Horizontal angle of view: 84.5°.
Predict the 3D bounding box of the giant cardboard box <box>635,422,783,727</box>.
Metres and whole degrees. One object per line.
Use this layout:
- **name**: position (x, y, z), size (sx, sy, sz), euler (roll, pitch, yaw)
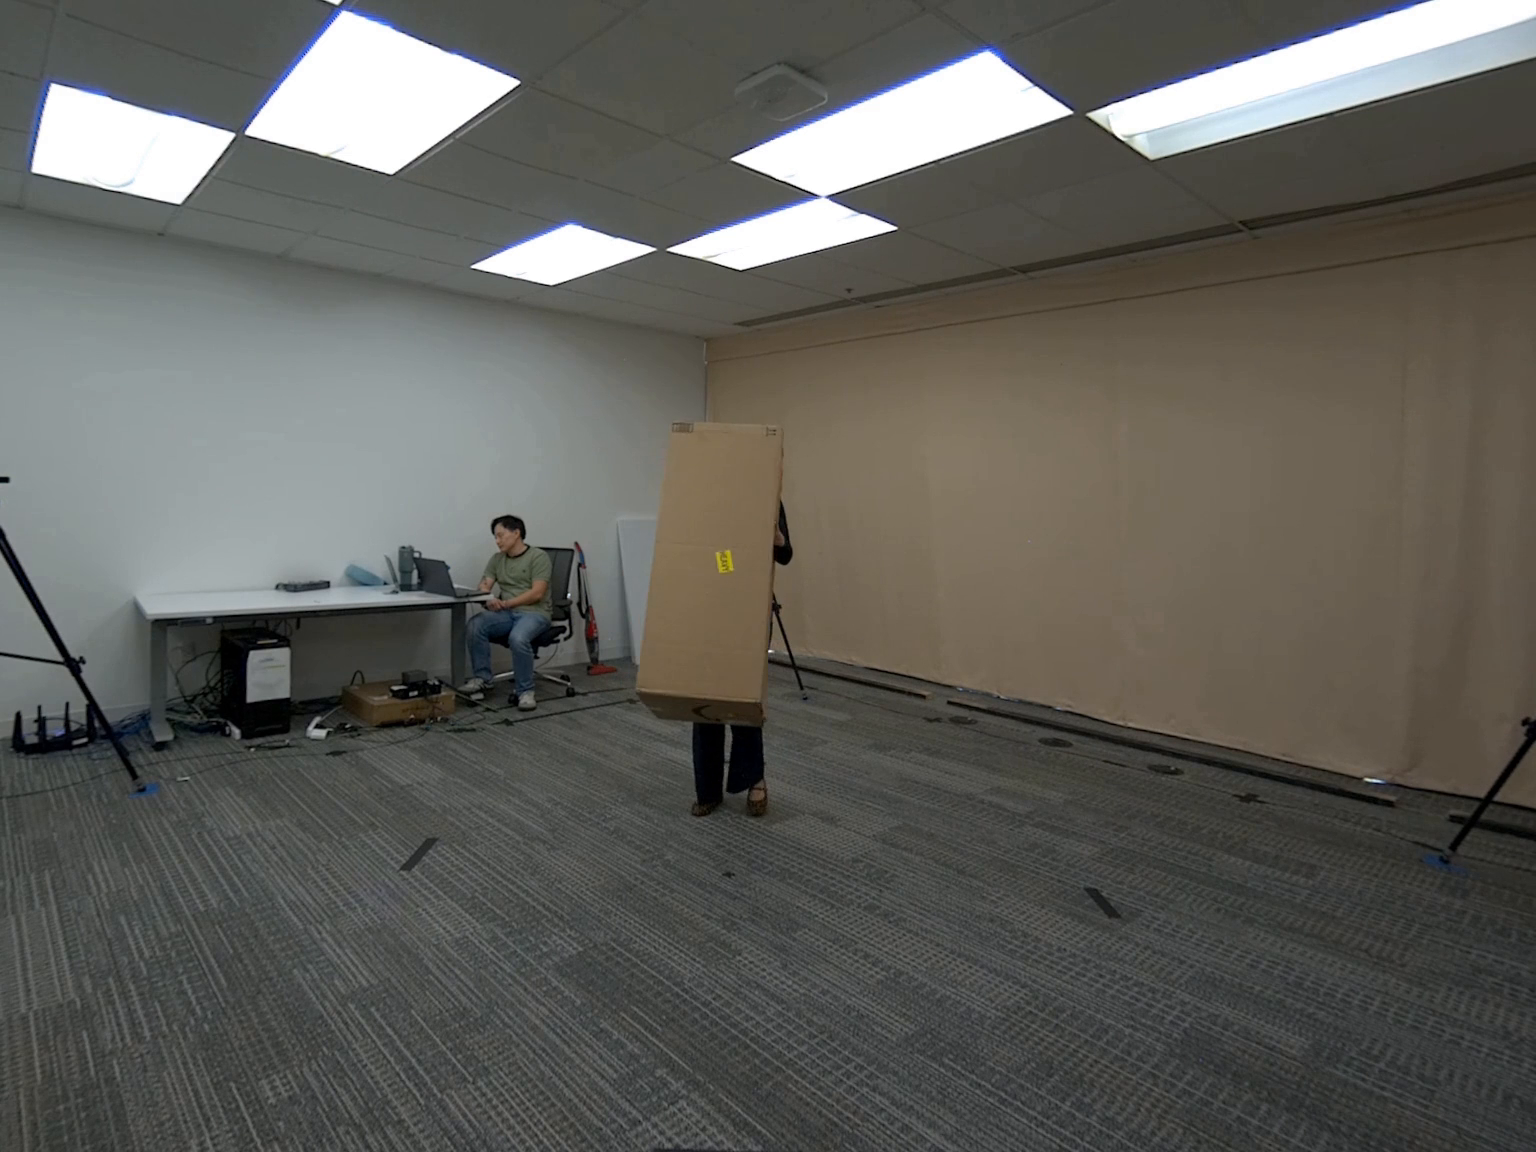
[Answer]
- **giant cardboard box**: position (-0.195, 0.009, 3.210), size (0.428, 1.039, 0.568), euler (3, -20, 3)
